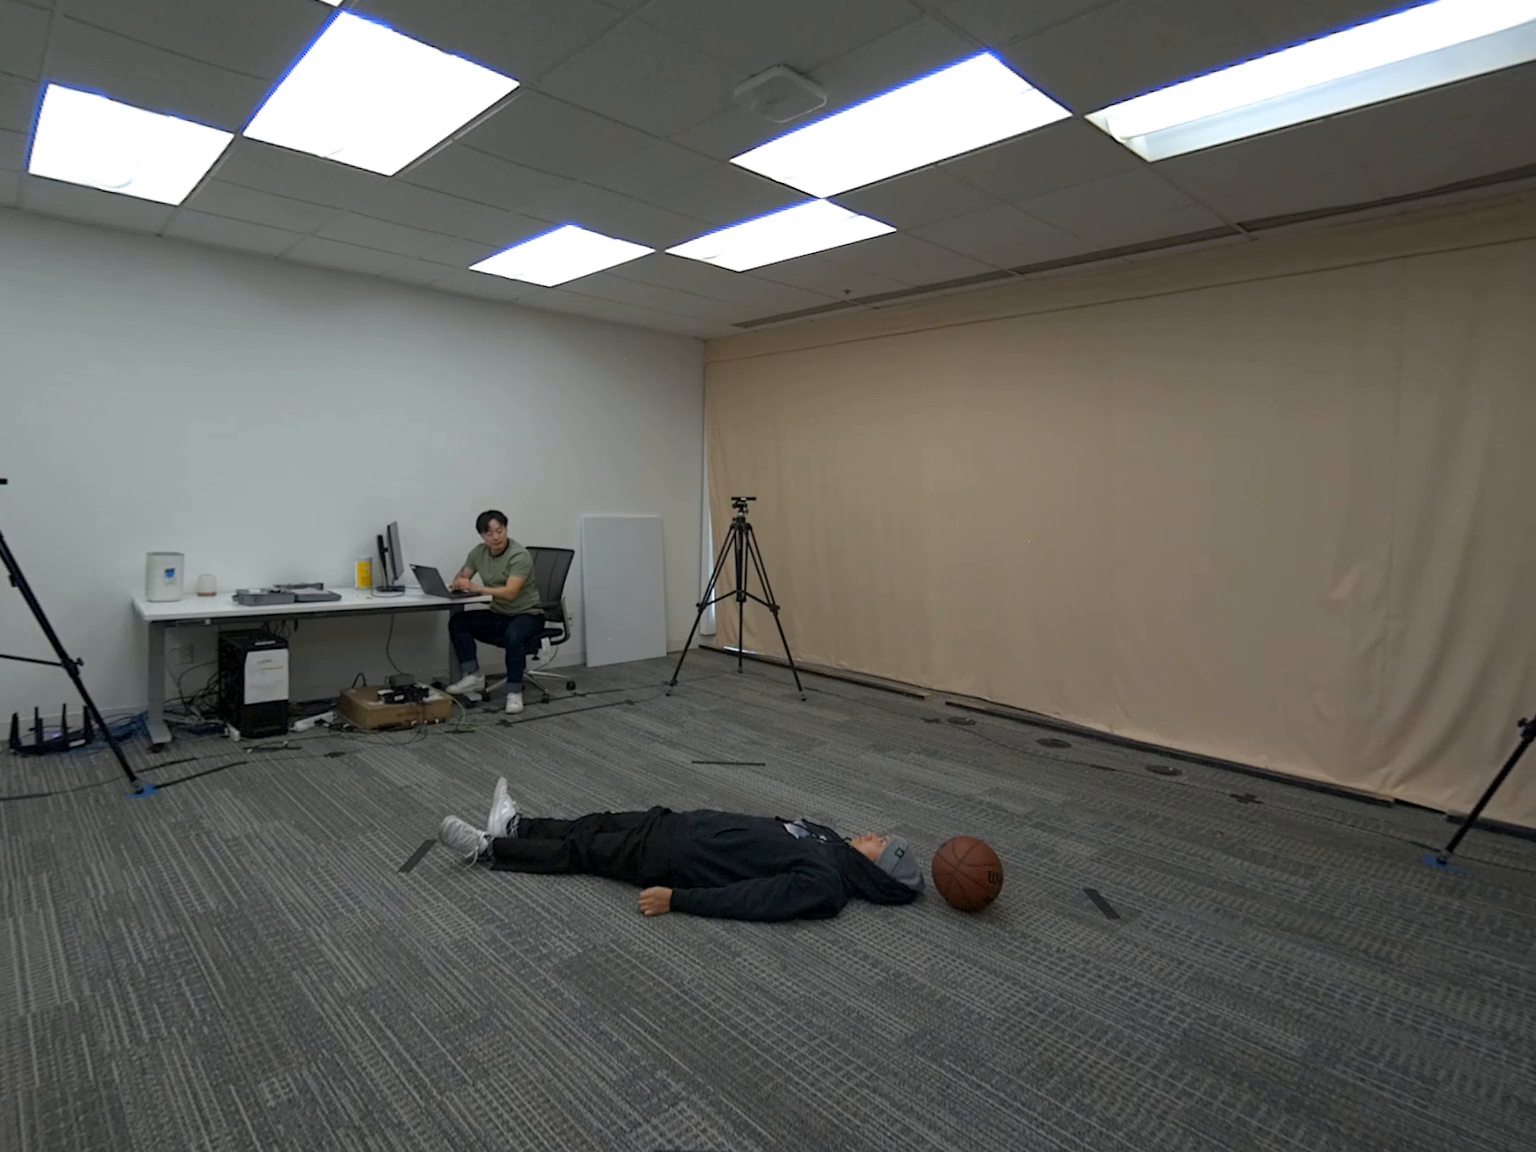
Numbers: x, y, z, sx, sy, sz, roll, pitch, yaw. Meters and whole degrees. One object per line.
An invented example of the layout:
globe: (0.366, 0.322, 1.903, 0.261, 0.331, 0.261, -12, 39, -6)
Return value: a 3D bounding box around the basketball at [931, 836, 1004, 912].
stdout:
basketball: (0.677, 1.023, 2.911, 0.236, 0.235, 0.237, 1, 4, -1)
